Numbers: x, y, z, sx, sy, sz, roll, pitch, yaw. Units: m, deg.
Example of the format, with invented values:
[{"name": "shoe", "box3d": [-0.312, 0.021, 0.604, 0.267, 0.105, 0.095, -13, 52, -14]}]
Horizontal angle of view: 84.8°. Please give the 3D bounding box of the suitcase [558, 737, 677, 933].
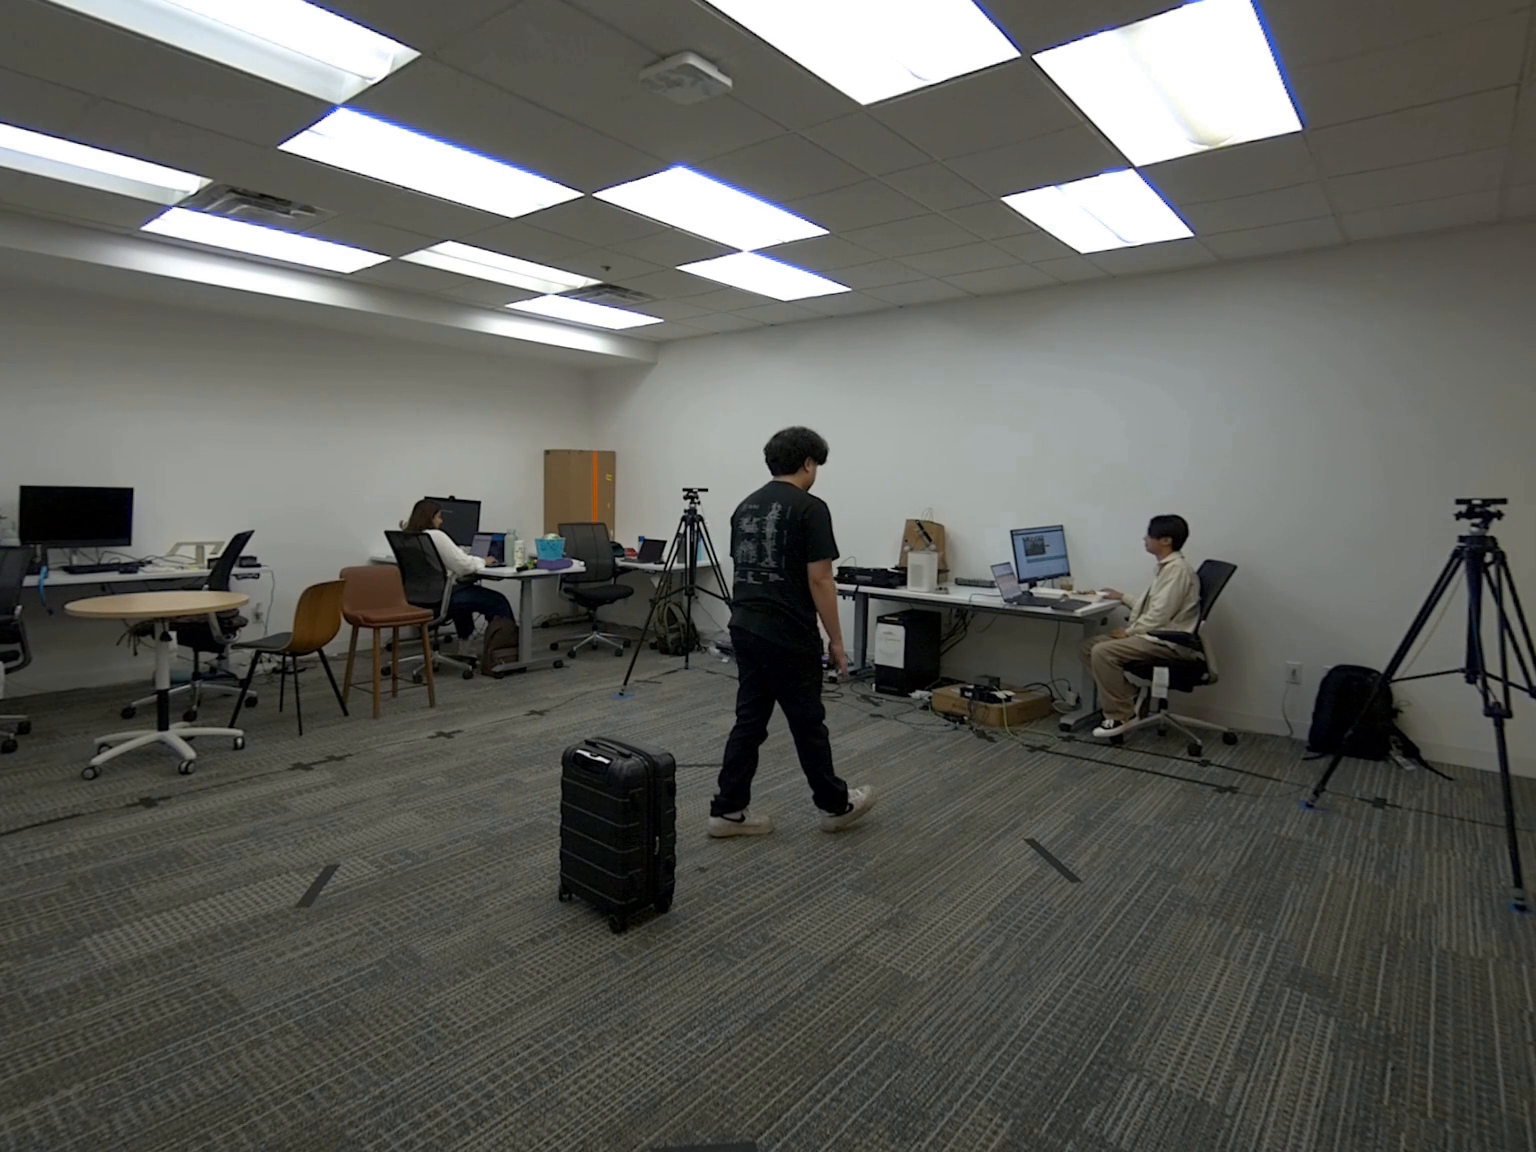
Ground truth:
[{"name": "suitcase", "box3d": [-0.510, 0.816, 2.809, 0.388, 0.548, 0.241, 5, 5, 42]}]
